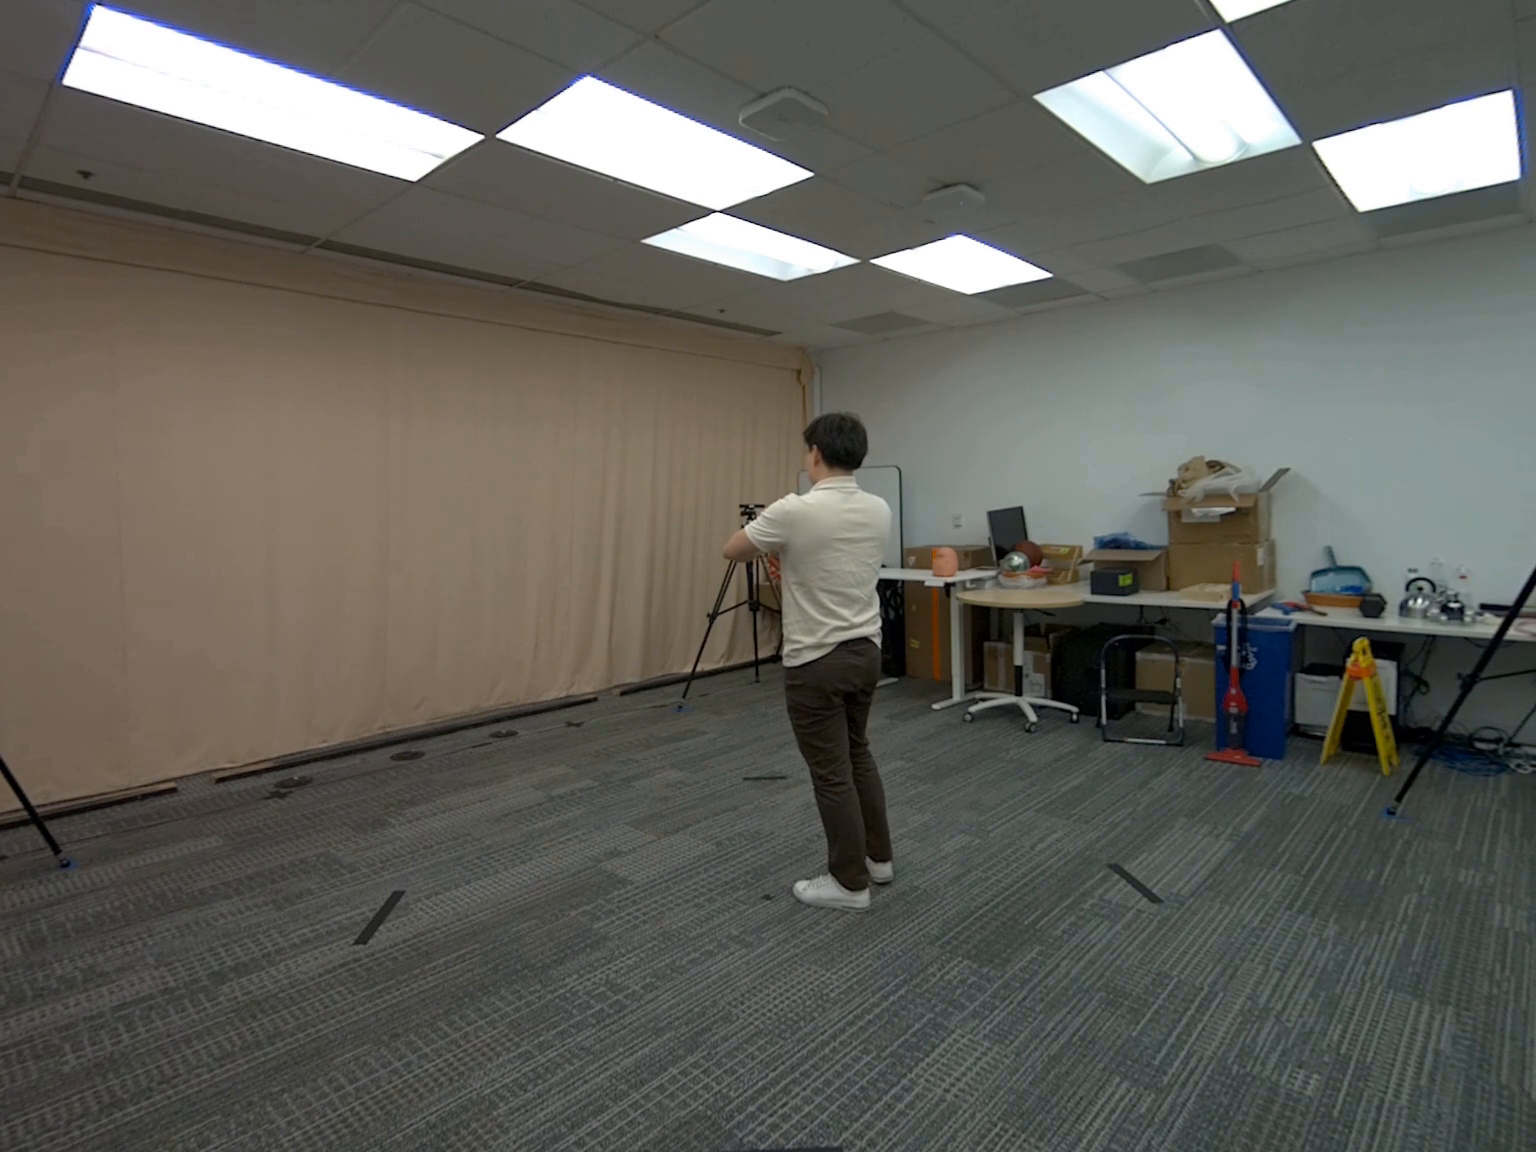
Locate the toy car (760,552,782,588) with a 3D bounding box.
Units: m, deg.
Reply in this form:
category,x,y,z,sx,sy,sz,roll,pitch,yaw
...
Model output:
category,x,y,z,sx,sy,sz,roll,pitch,yaw
toy car,0.055,-0.072,3.223,0.133,0.251,0.082,35,53,17
